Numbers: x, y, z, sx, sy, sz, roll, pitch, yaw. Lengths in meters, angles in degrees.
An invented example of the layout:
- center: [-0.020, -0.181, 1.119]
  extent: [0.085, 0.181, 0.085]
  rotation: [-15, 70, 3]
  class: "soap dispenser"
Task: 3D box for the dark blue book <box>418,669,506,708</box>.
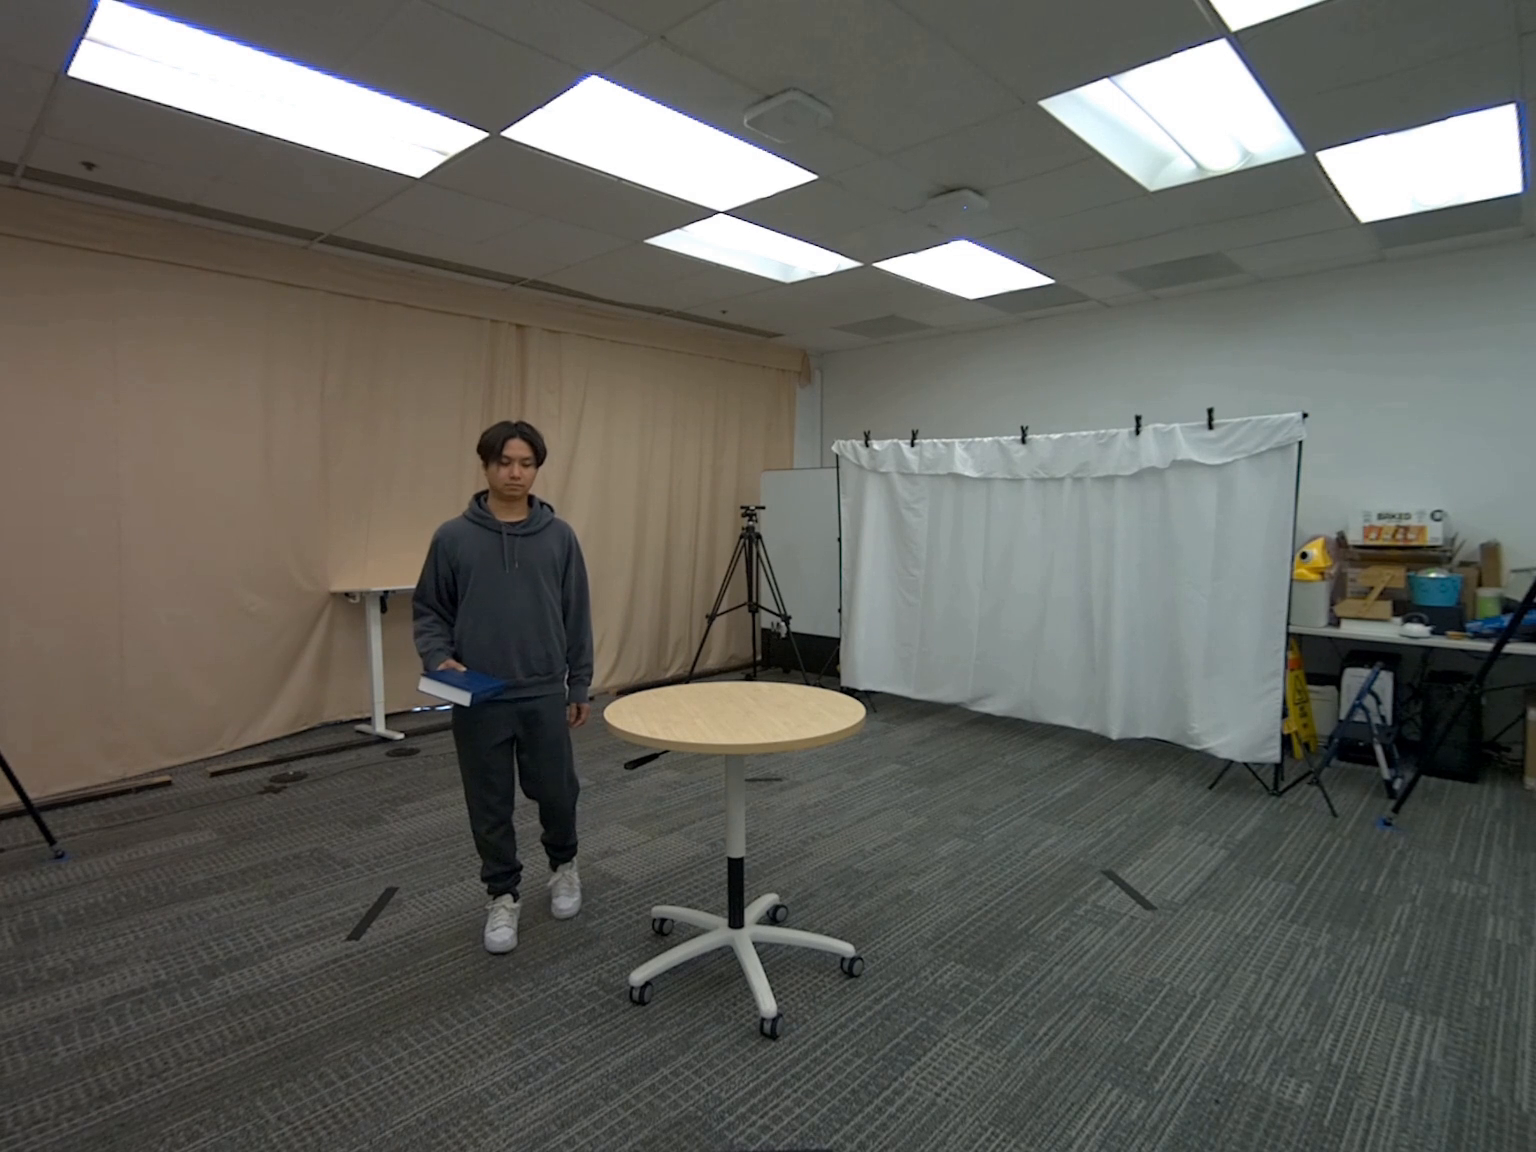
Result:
- center: [-0.874, 0.312, 2.417]
  extent: [0.164, 0.045, 0.243]
  rotation: [15, 1, 4]
  class: "dark blue book"
